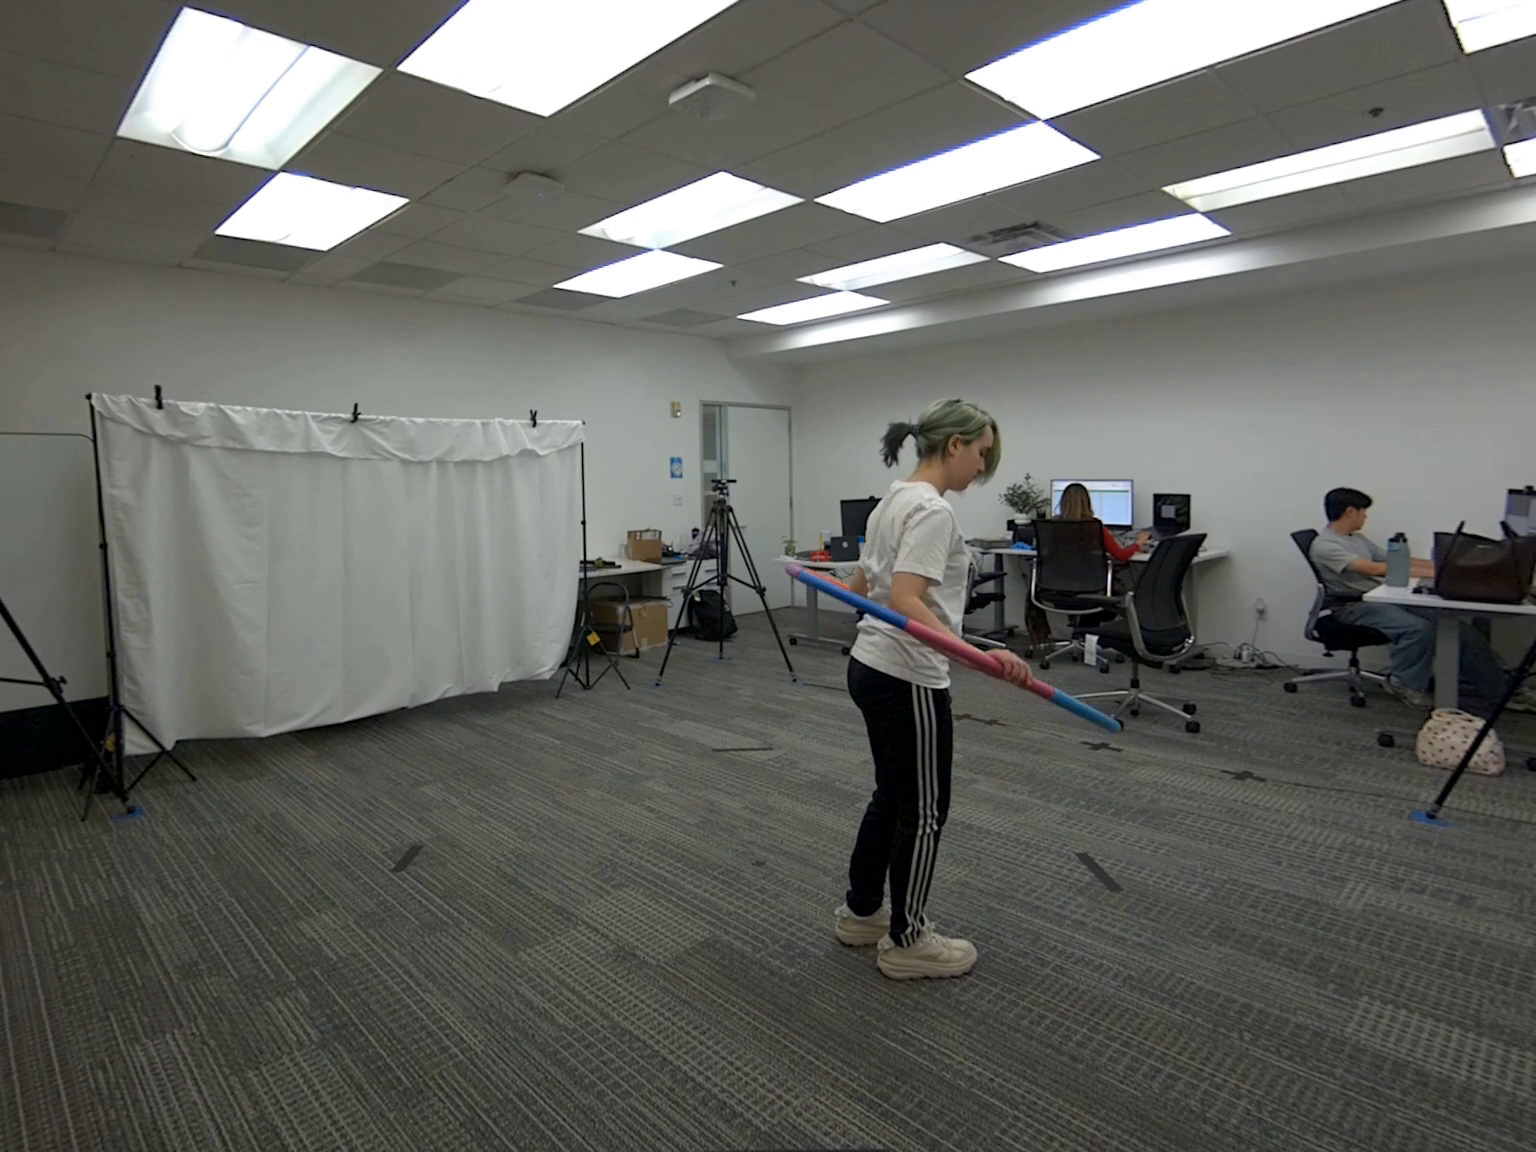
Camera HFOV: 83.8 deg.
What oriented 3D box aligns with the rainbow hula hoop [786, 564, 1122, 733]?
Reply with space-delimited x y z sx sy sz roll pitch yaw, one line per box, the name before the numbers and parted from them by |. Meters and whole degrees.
rainbow hula hoop | 0.499 0.180 2.432 0.983 0.051 0.989 25 3 -3
